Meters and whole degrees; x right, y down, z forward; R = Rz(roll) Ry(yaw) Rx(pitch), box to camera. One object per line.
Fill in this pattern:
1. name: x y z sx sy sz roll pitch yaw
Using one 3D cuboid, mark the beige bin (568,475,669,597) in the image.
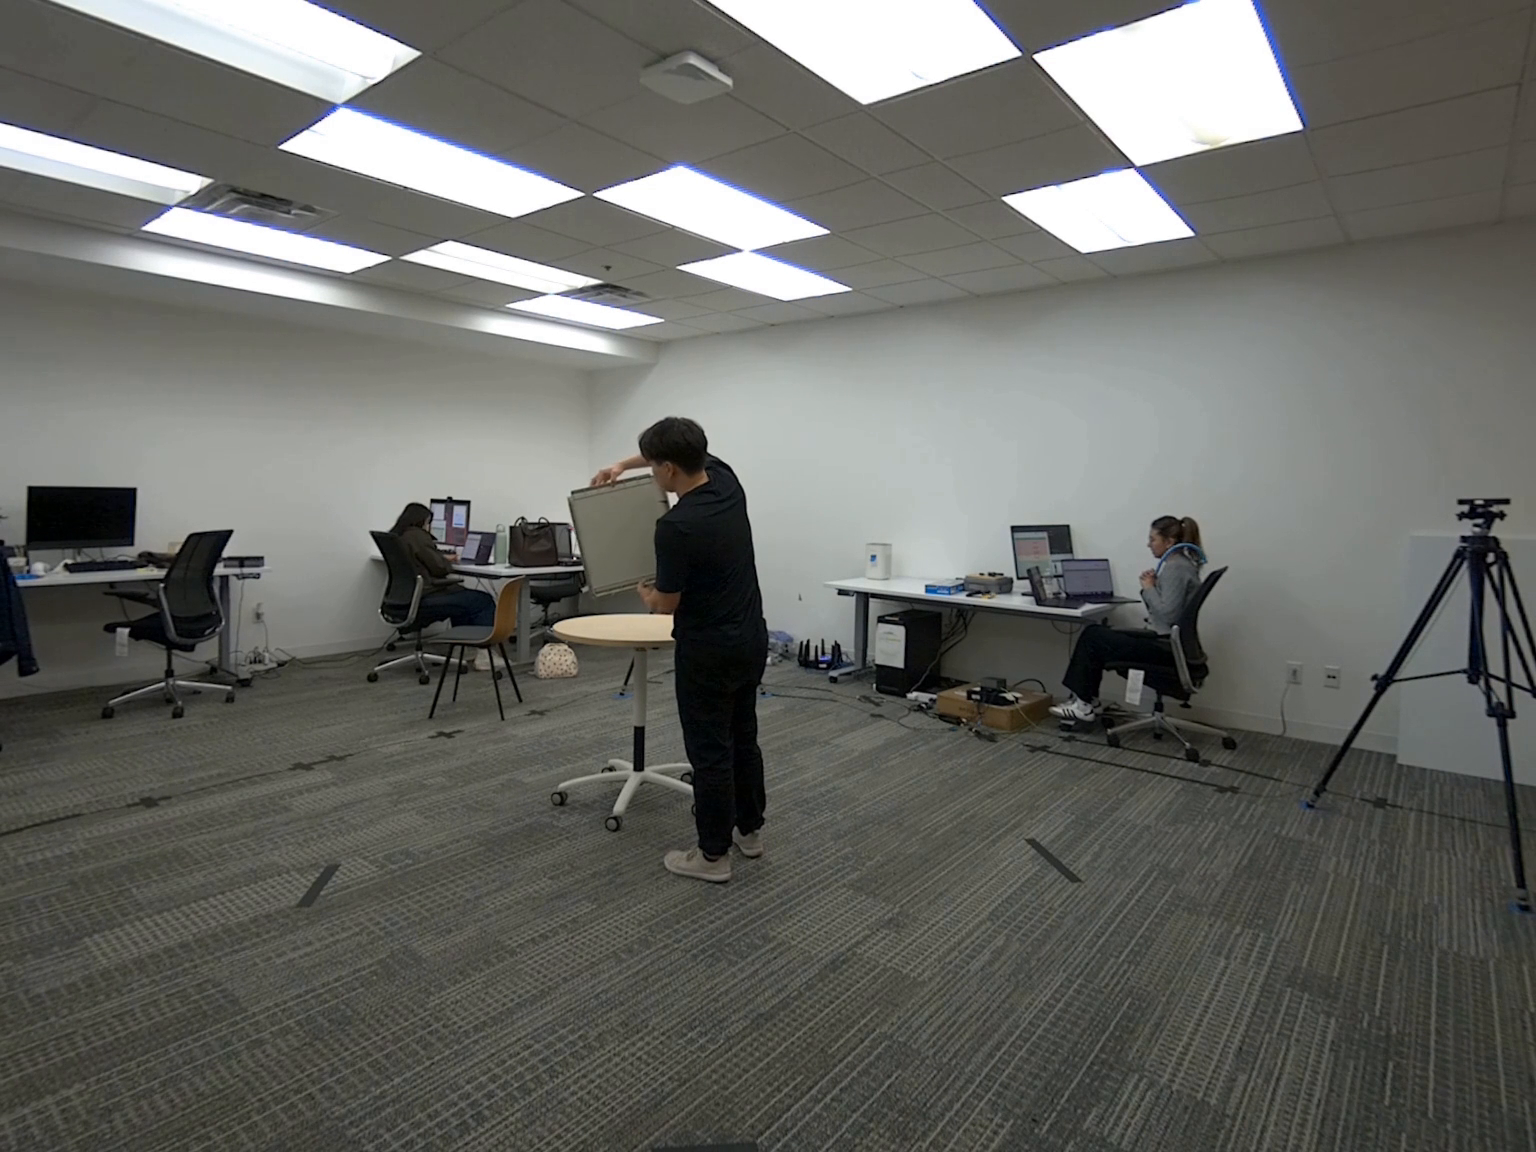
1. beige bin: -0.571 -0.163 3.339 0.373 0.423 0.190 -13 -1 -13
